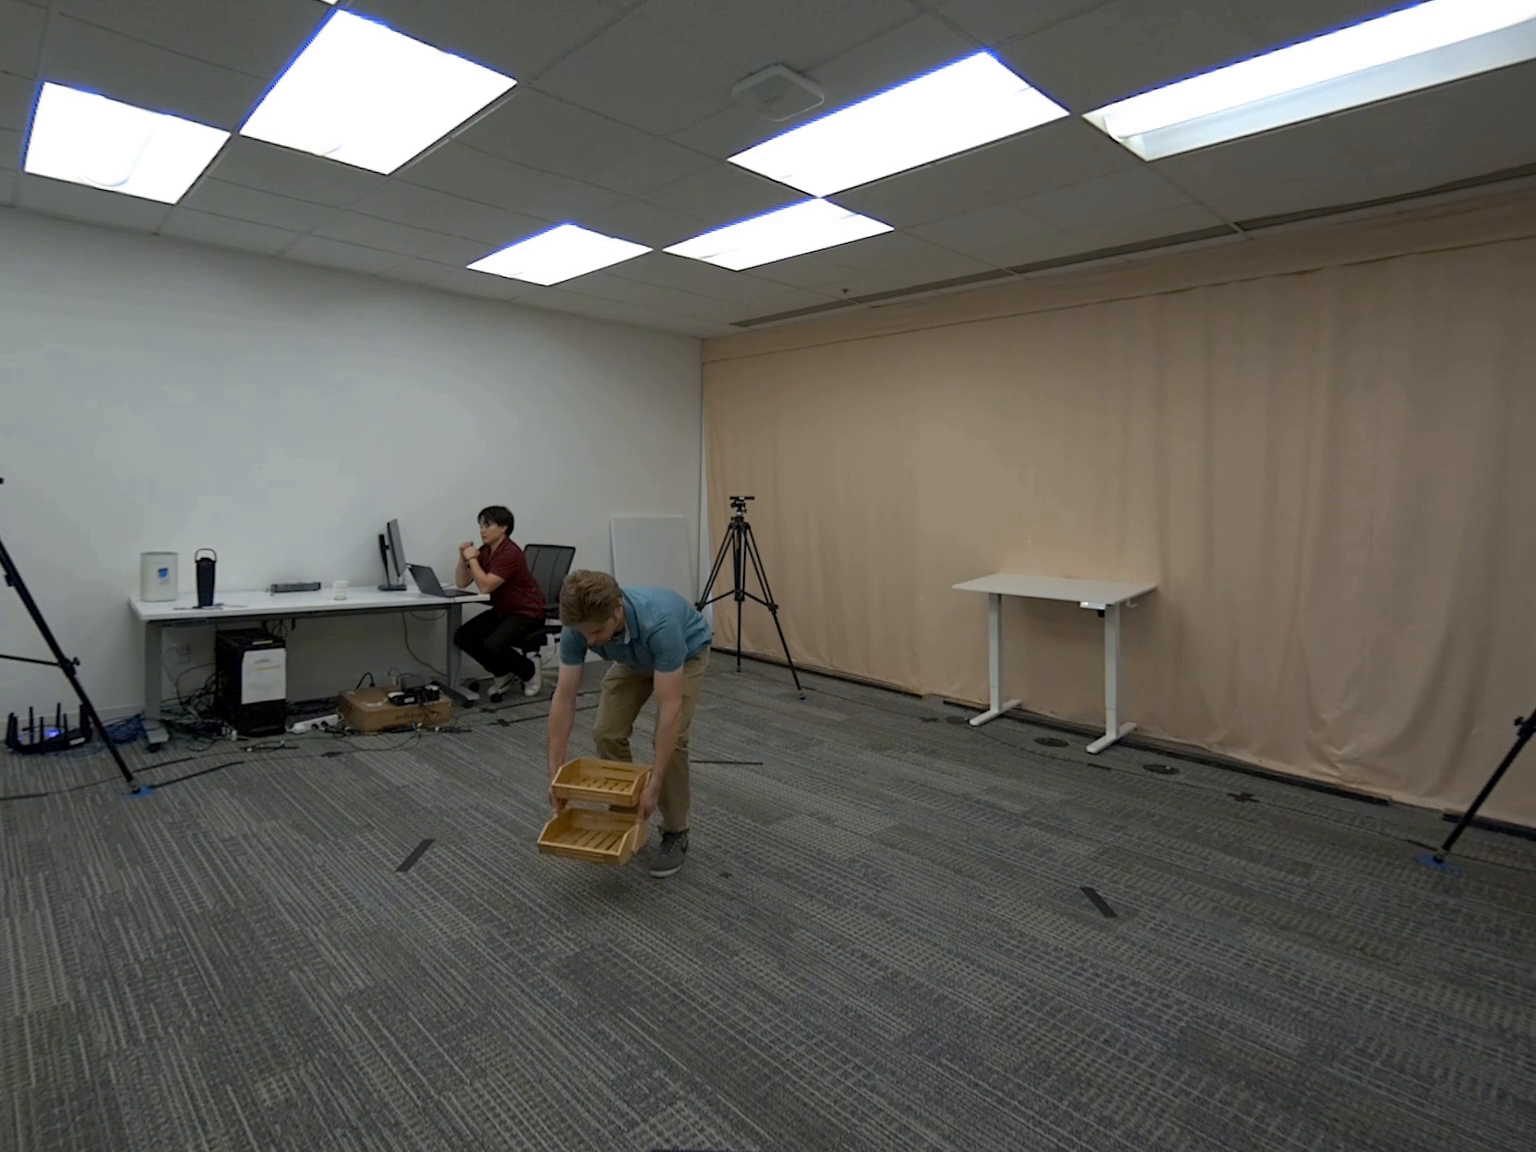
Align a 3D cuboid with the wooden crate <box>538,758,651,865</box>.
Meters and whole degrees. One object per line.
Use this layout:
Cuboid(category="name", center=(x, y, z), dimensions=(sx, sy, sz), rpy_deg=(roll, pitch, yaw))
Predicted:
Cuboid(category="wooden crate", center=(-0.606, 0.820, 2.938), dimensions=(0.328, 0.273, 0.299), rpy_deg=(2, 2, 14))
